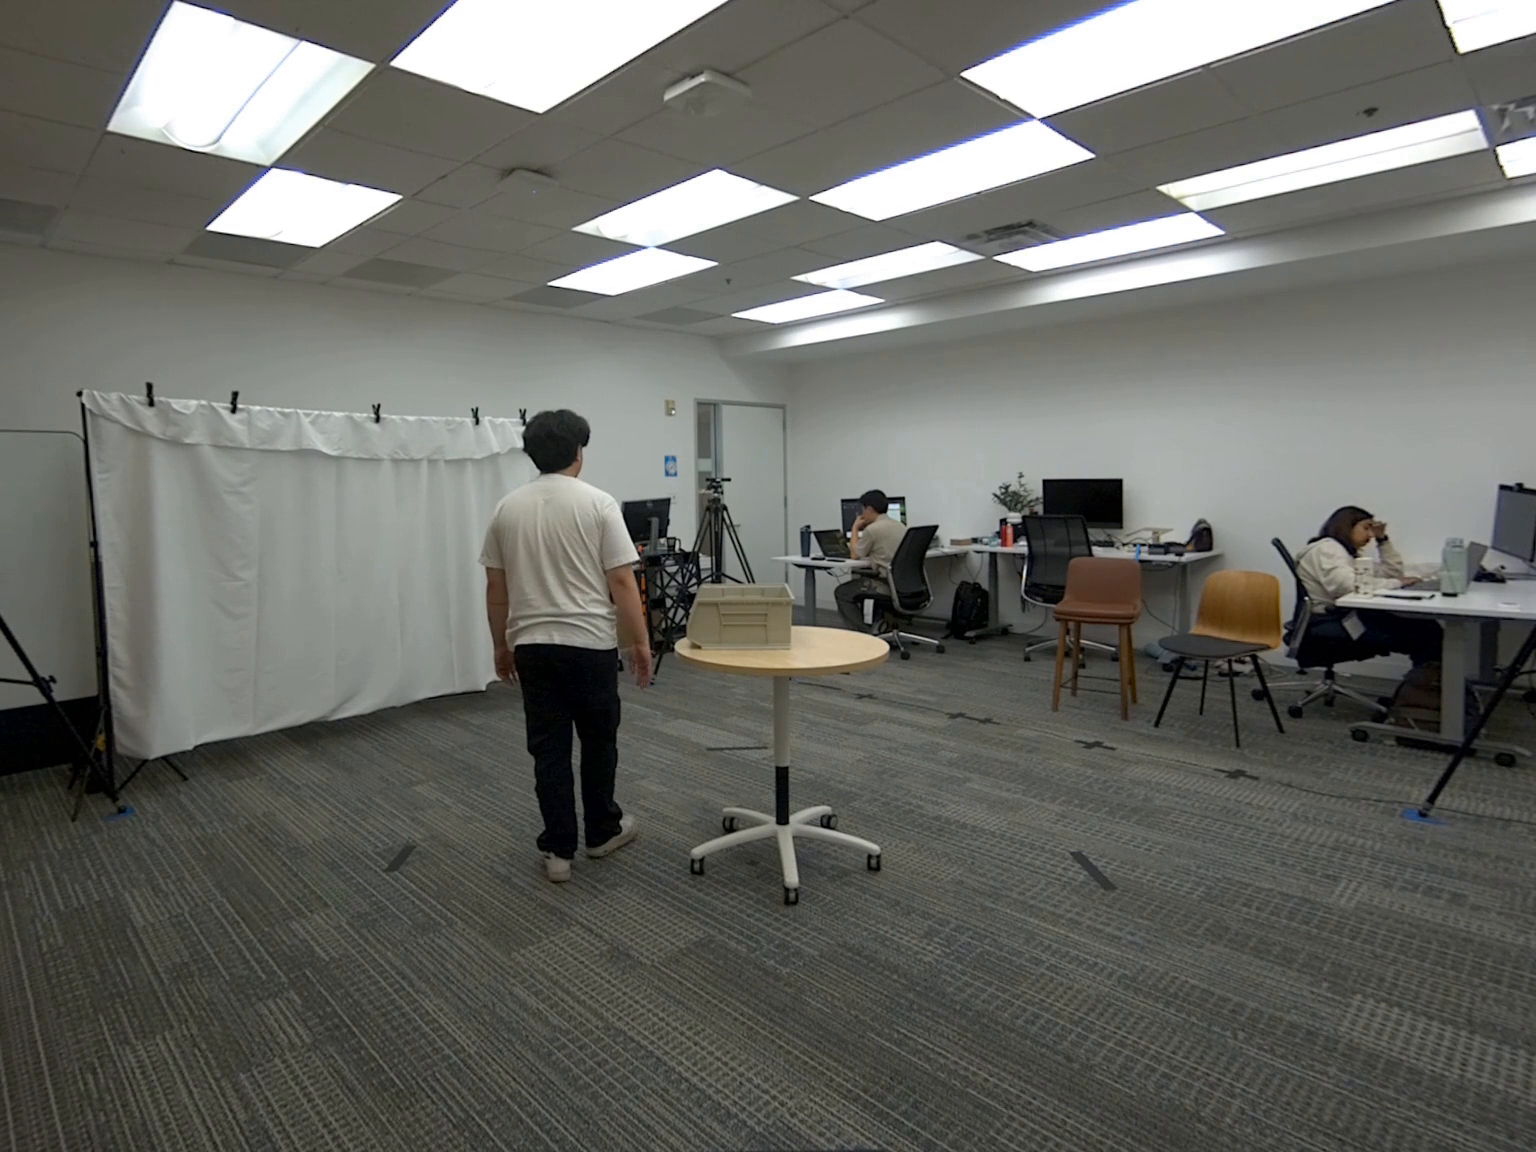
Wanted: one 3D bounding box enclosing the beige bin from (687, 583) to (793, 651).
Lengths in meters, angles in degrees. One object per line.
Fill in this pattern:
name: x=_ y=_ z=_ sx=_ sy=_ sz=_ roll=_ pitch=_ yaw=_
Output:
beige bin: x=-0.108 y=0.140 z=3.178 sx=0.377 sy=0.188 sz=0.424 roll=1 pitch=5 yaw=-2
